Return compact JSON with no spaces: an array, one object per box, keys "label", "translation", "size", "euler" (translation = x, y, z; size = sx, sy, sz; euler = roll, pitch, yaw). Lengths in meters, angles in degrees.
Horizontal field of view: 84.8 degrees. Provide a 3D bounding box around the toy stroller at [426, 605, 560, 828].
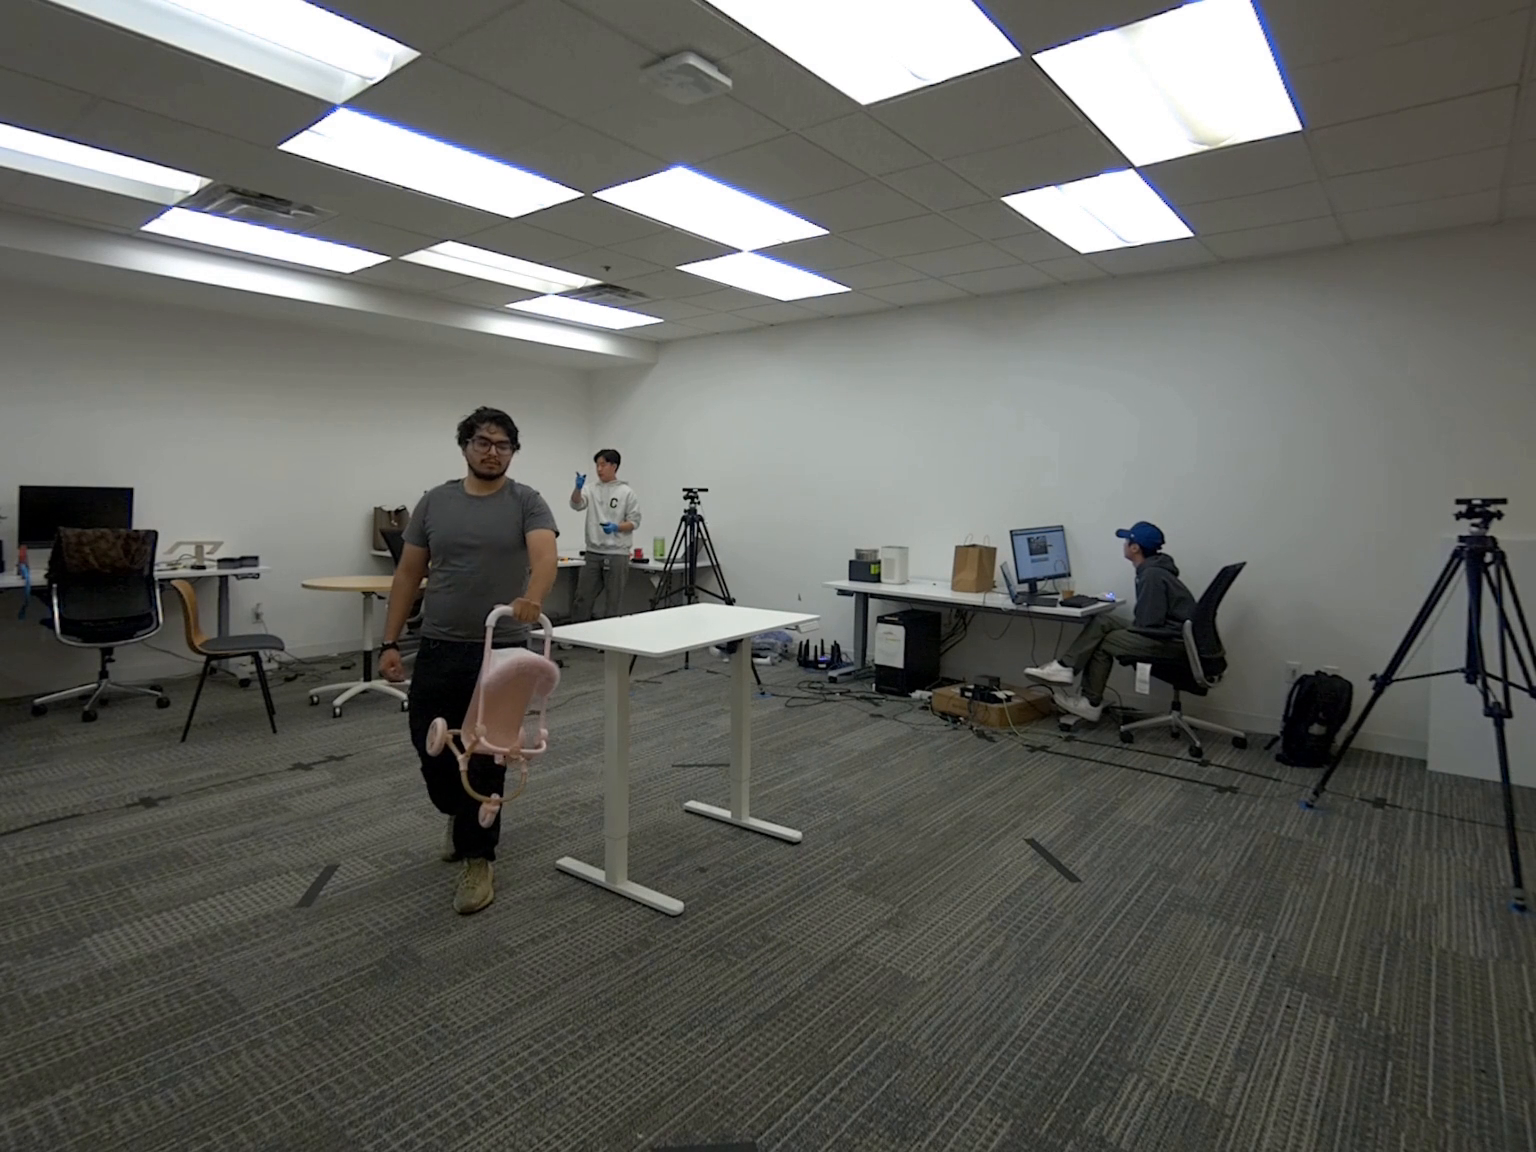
[{"label":"toy stroller","translation":[-0.773,0.406,2.437],"size":[0.271,0.532,0.355],"euler":[17,15,-35]}]
